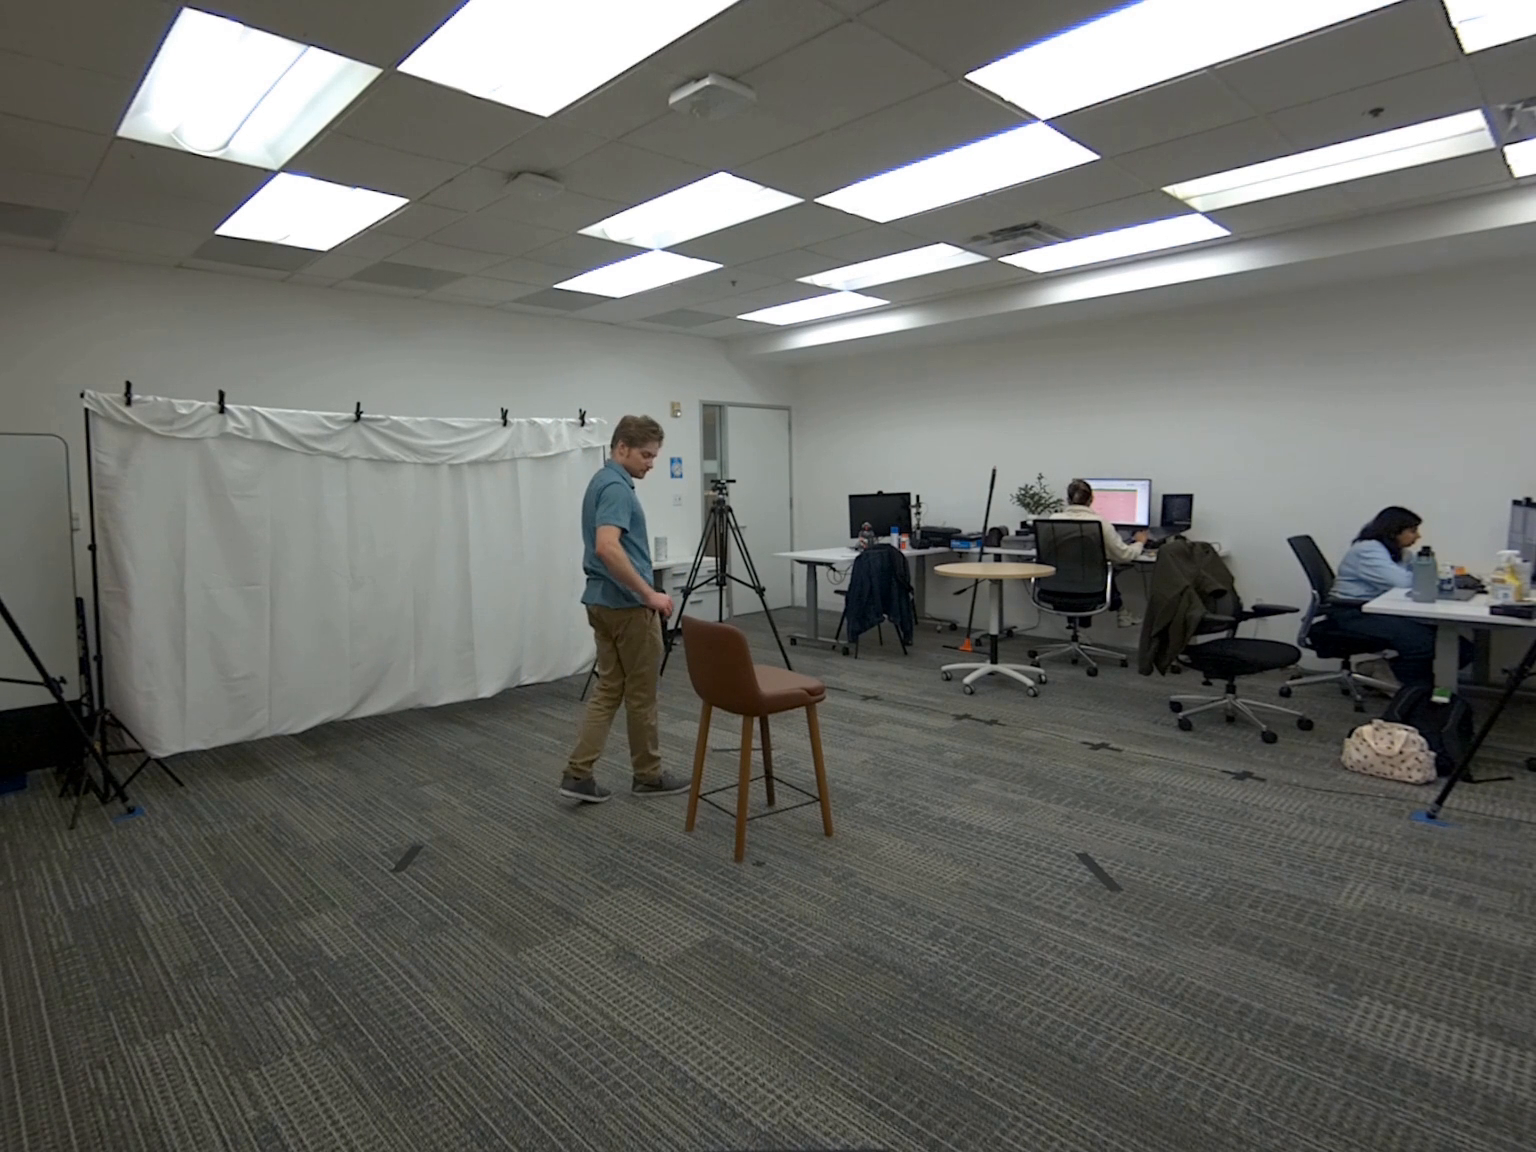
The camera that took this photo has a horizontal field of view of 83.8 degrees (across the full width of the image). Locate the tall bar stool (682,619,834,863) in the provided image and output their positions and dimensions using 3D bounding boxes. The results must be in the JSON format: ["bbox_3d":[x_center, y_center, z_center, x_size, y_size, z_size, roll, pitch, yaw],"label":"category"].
[{"bbox_3d":[-0.054,0.585,3.360,0.456,0.885,0.470,-6,6,-35],"label":"tall bar stool"}]
